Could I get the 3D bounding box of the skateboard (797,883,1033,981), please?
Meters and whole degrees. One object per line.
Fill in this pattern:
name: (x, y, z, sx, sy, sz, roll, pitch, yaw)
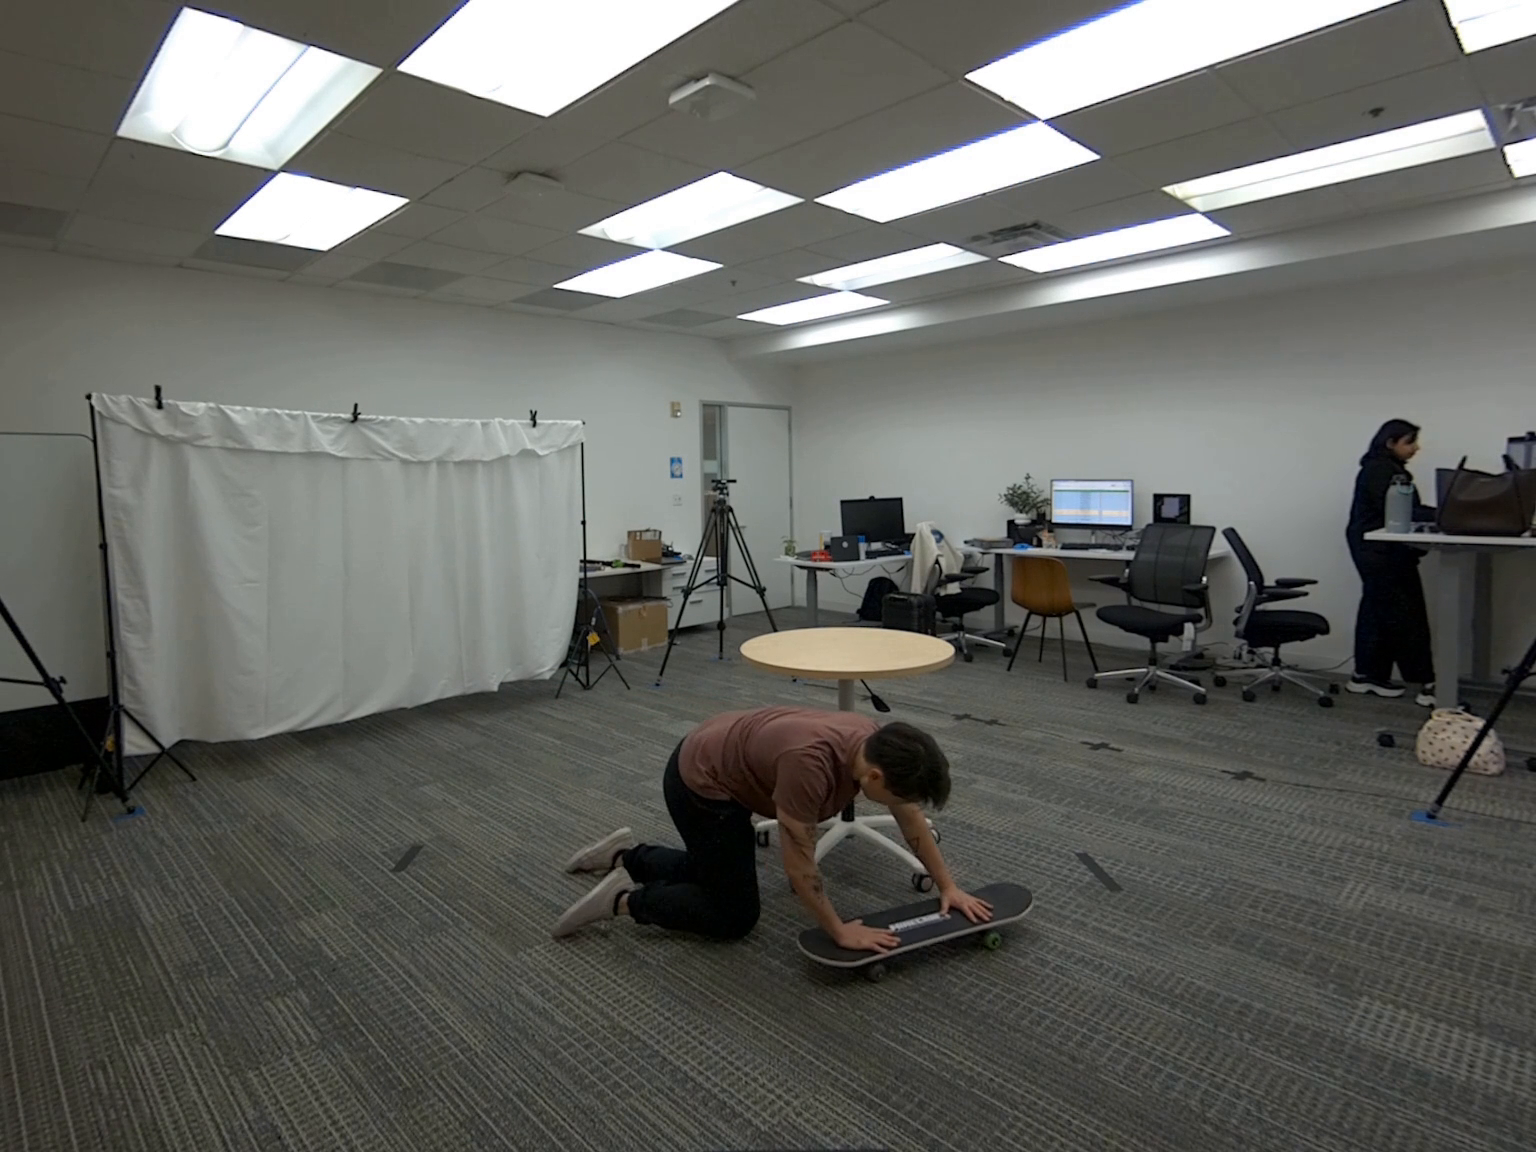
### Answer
skateboard: (0.450, 1.045, 2.524, 0.771, 0.110, 0.198, -3, 8, -22)
